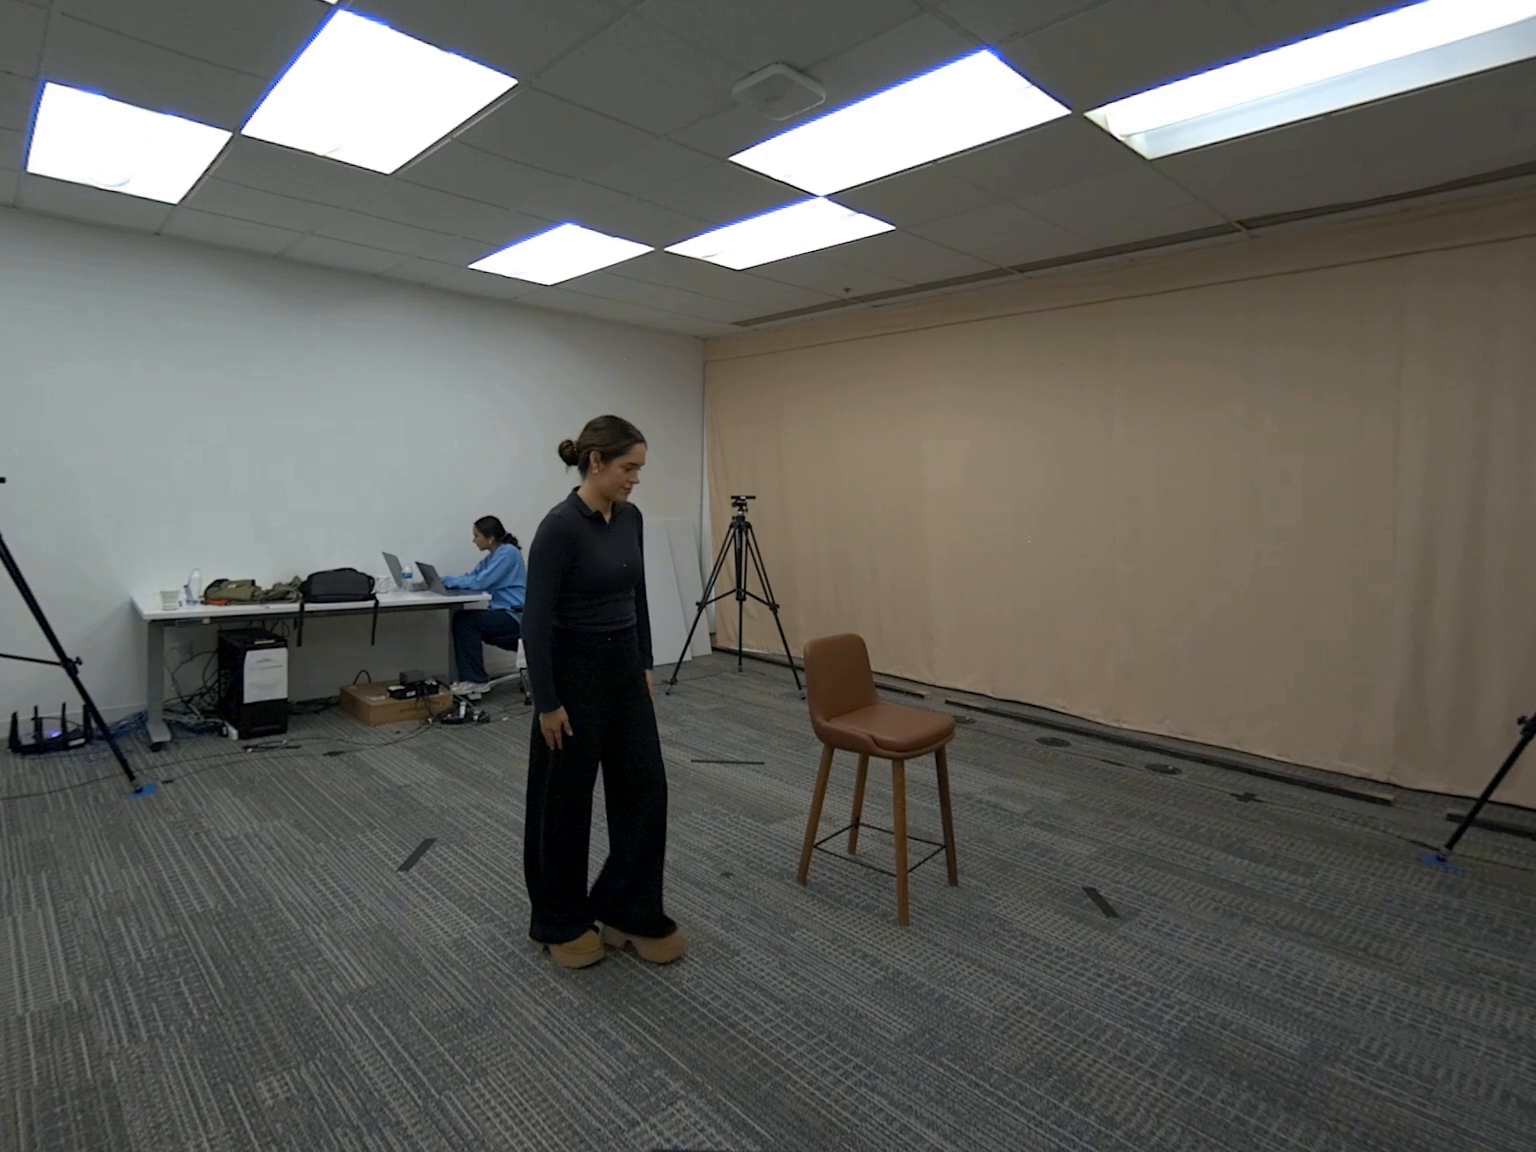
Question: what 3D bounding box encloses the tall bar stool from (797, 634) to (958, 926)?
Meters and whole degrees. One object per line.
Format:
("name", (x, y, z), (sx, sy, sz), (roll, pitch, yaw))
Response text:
("tall bar stool", (0.400, 0.688, 3.030), (0.479, 0.888, 0.446), (2, 3, 39))
